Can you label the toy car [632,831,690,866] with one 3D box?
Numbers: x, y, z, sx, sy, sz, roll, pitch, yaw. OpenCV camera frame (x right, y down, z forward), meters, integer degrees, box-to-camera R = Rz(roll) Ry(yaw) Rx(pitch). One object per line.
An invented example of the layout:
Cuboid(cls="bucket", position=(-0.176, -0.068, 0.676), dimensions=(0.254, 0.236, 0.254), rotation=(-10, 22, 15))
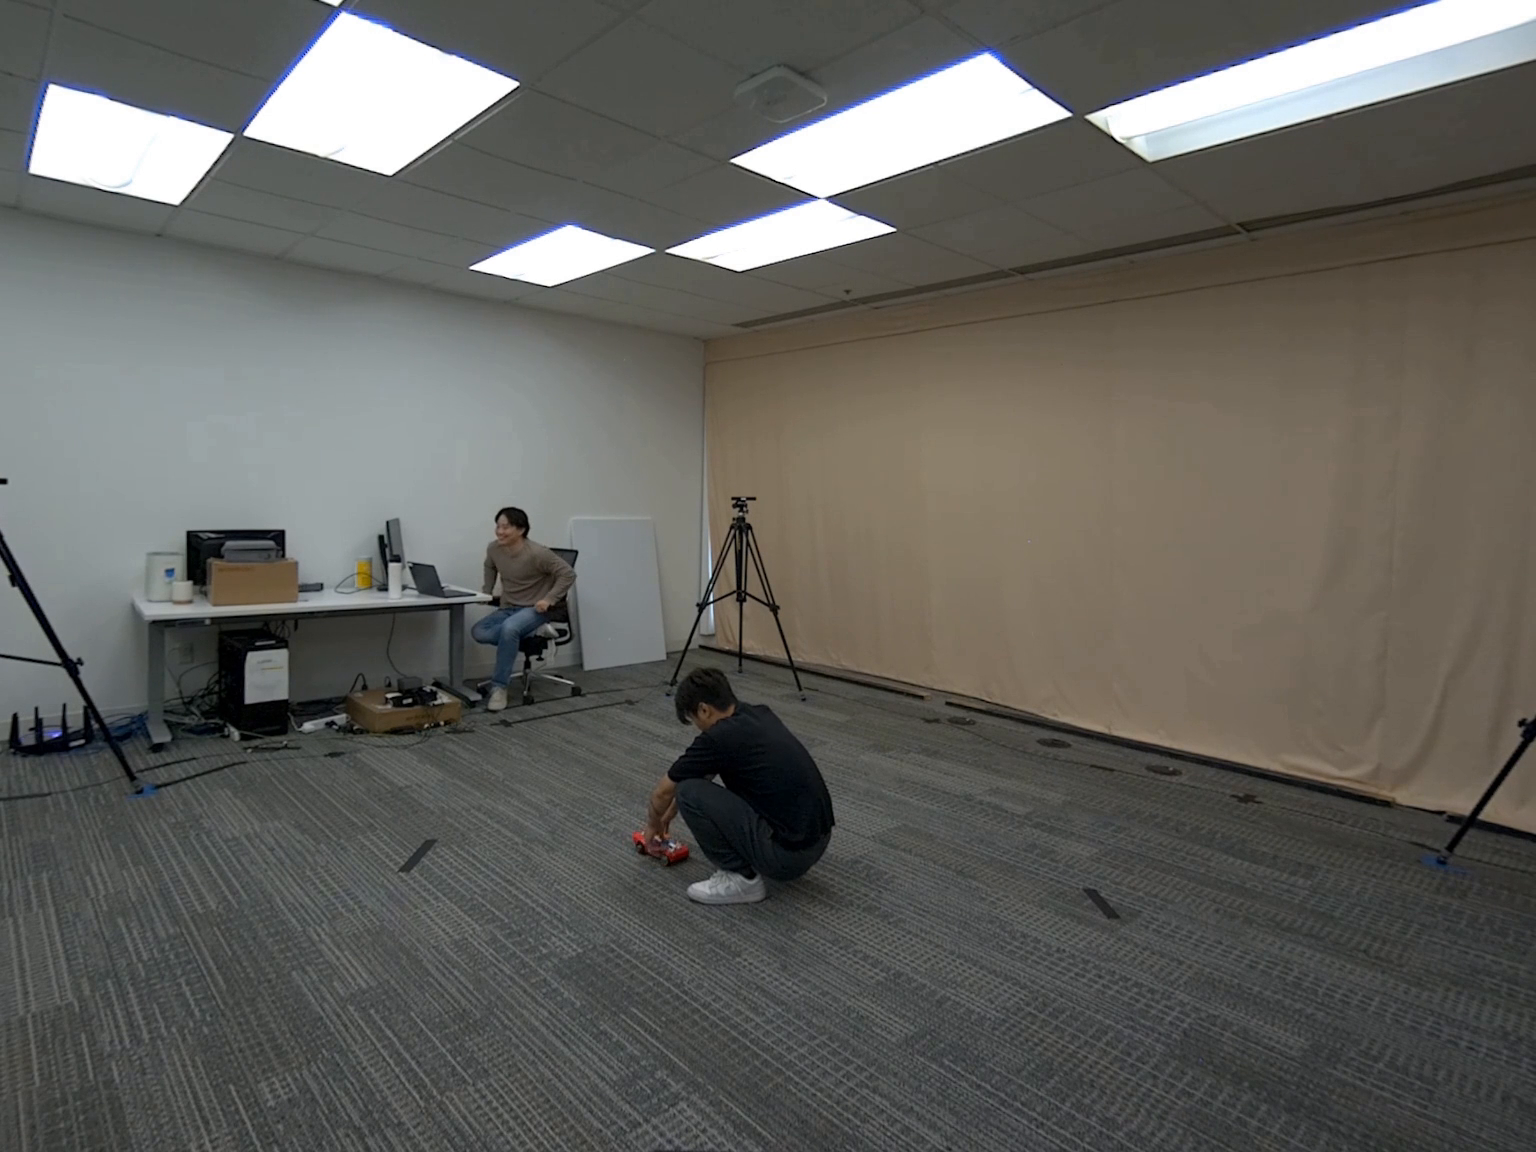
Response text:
Cuboid(cls="toy car", position=(-0.425, 1.046, 3.285), dimensions=(0.262, 0.083, 0.127), rotation=(19, 14, 42))
